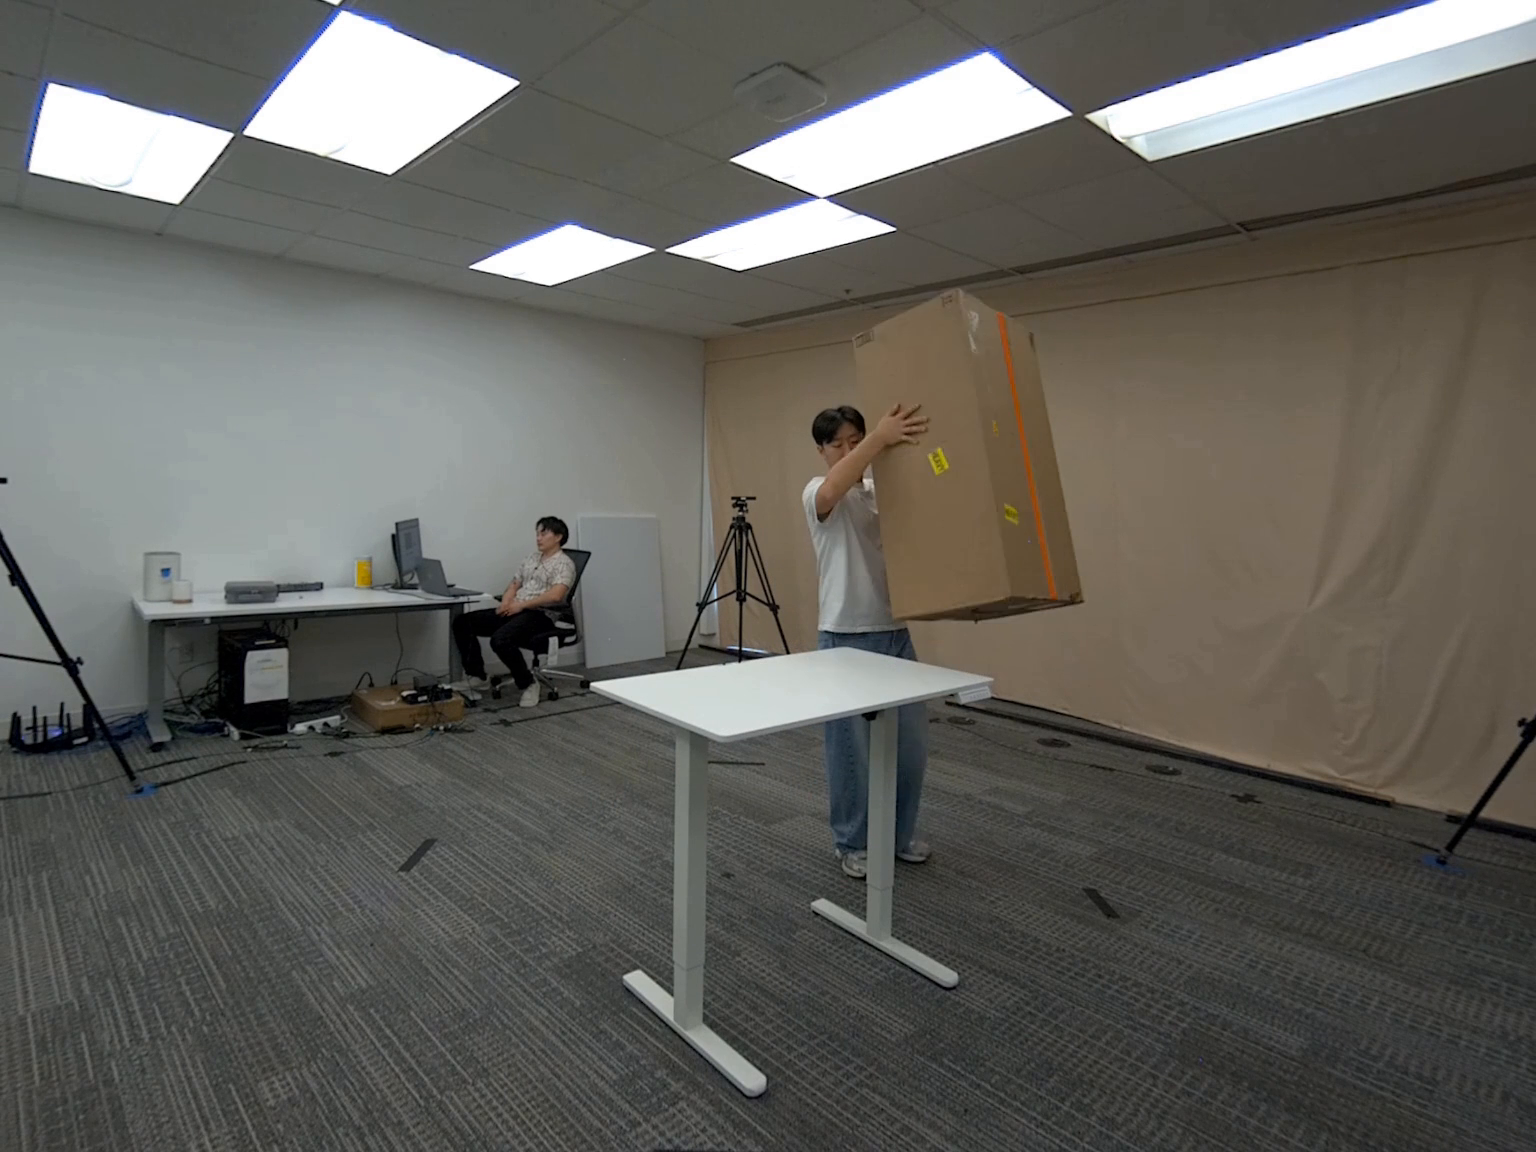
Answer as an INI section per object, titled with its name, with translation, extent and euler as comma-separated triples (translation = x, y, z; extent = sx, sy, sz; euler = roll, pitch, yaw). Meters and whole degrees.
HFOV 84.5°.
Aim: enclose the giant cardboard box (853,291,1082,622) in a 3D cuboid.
[giant cardboard box]
translation = 0.695, -0.365, 2.959
extent = 0.433, 1.036, 0.562
euler = -17, -16, 41
